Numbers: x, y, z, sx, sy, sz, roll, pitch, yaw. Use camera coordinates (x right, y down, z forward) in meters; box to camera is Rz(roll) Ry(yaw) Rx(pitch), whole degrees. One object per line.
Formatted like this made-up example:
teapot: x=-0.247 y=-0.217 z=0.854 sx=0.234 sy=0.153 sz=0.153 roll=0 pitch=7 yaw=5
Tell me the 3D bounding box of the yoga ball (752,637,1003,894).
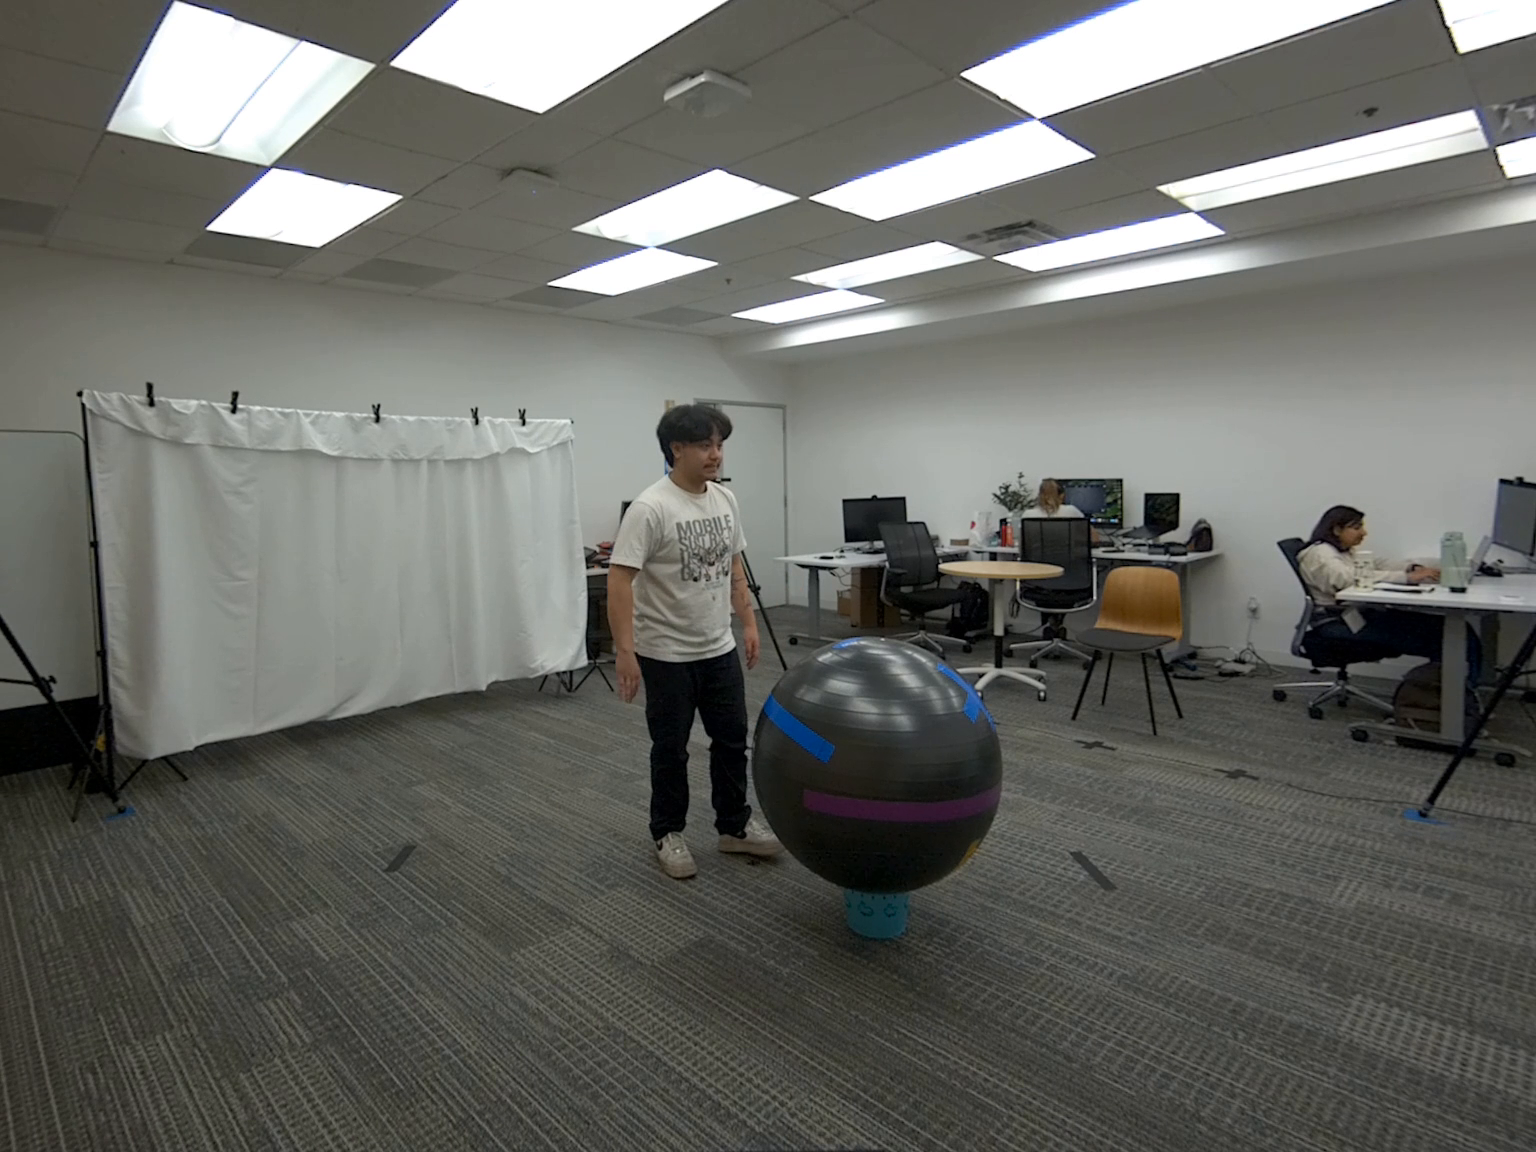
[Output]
yoga ball: x=0.332 y=0.577 z=2.637 sx=0.757 sy=0.755 sz=0.762 roll=-1 pitch=5 yaw=-2
